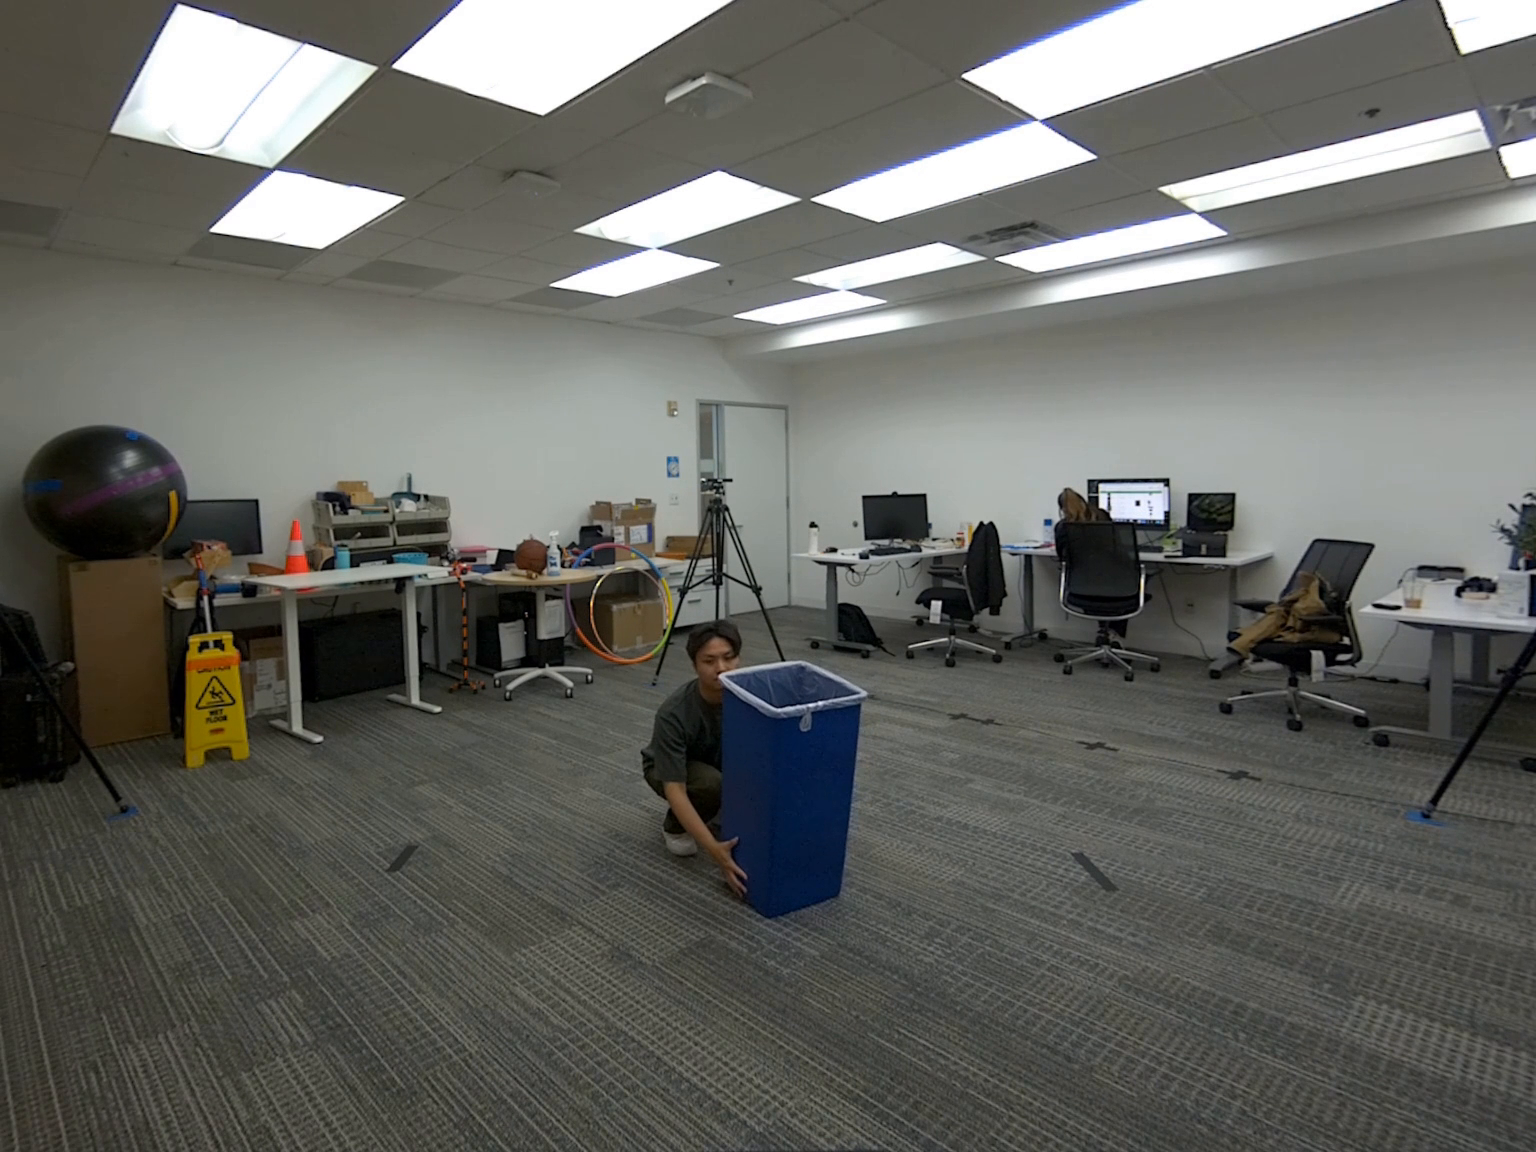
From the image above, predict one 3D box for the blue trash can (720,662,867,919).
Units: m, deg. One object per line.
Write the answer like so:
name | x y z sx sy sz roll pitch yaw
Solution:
blue trash can | 0.070 0.695 2.850 0.365 0.707 0.391 -4 12 -32
